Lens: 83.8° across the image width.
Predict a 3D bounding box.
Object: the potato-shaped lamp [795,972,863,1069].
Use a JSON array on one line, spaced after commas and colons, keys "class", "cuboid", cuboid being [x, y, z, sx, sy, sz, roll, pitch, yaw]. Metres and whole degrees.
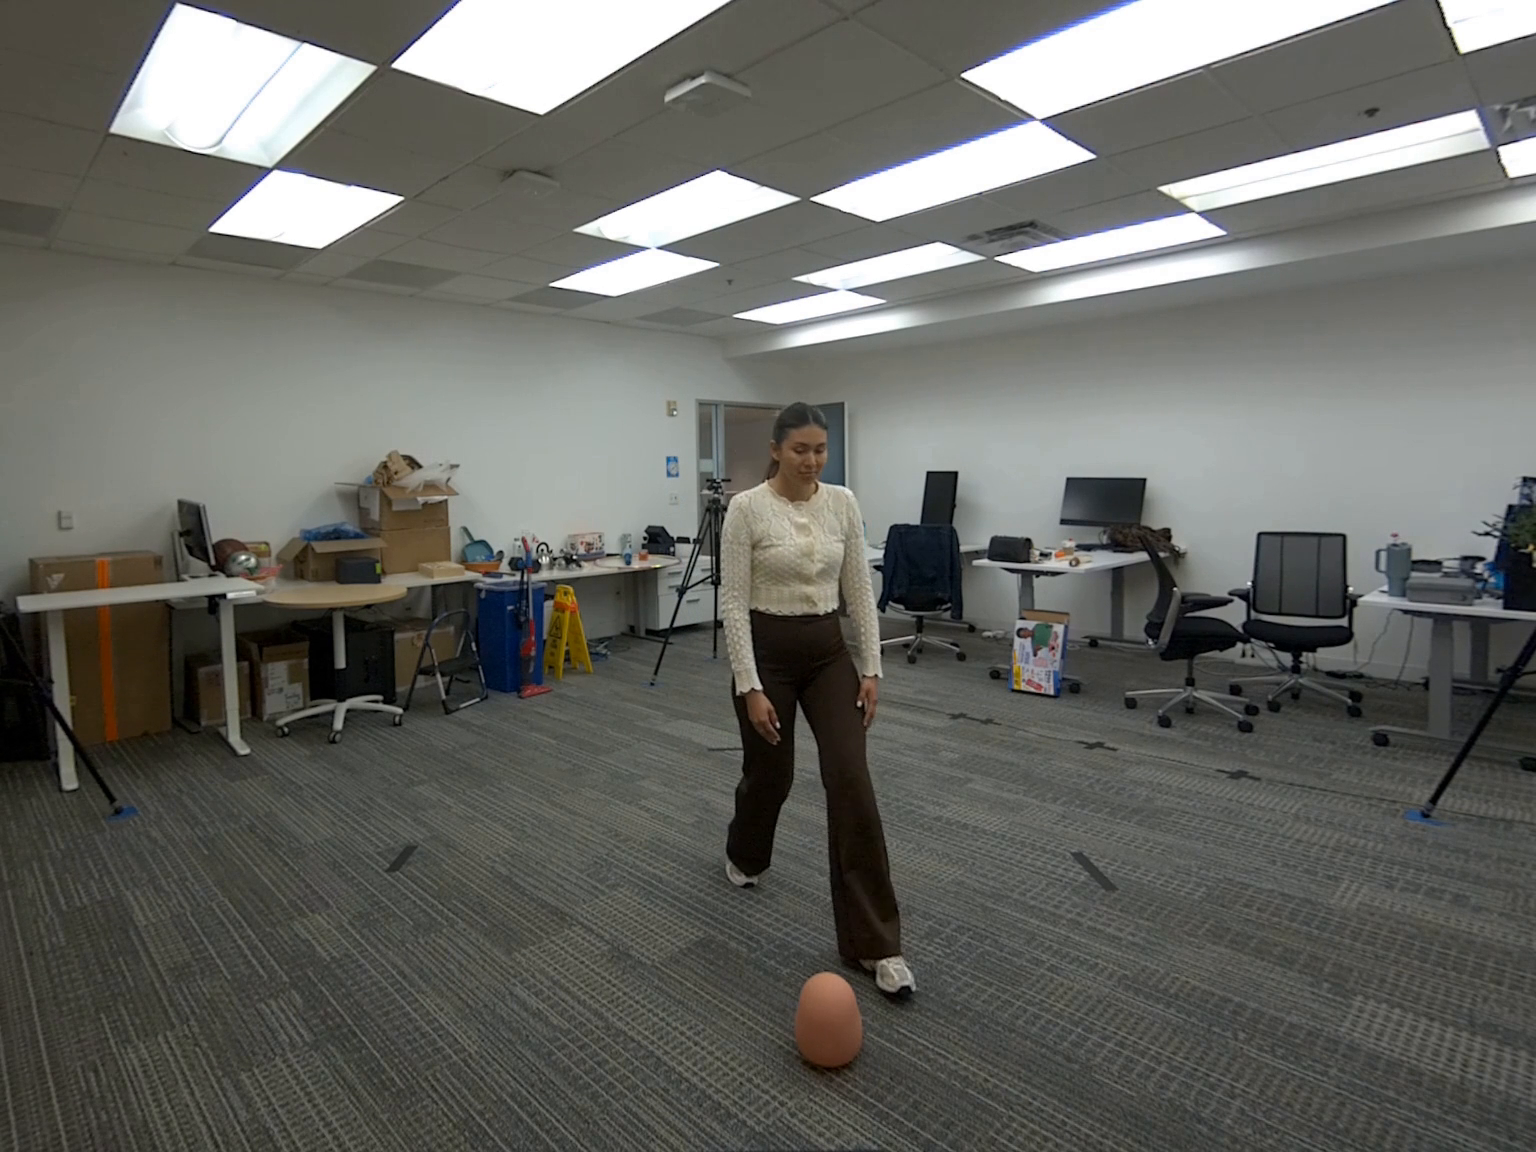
[{"class": "potato-shaped lamp", "cuboid": [0.153, 1.060, 2.068, 0.167, 0.197, 0.170, 0, 7, 12]}]
